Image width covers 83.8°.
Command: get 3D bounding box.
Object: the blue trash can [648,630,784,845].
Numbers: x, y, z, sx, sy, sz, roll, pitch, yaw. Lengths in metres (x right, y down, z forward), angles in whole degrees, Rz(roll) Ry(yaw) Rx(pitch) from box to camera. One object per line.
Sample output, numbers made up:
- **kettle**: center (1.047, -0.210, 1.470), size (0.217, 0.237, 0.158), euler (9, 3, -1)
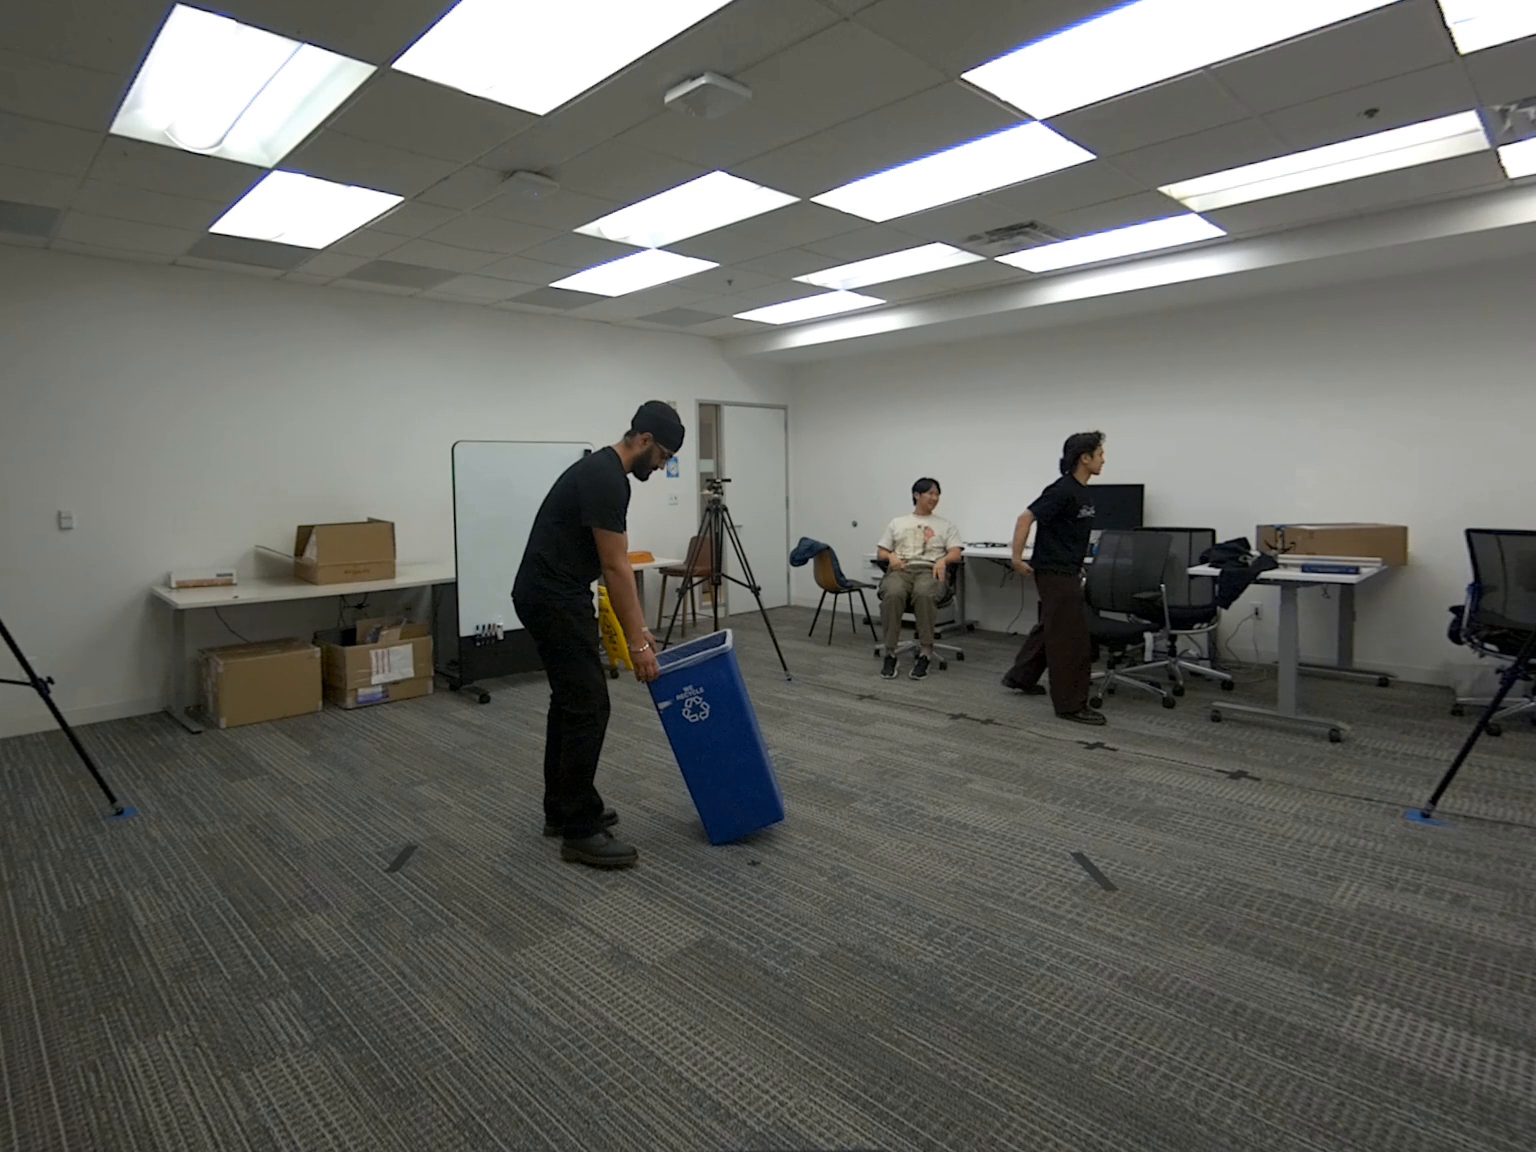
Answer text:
- **blue trash can**: center (-0.211, 0.630, 3.368), size (0.374, 0.711, 0.379), euler (-18, 3, 0)
